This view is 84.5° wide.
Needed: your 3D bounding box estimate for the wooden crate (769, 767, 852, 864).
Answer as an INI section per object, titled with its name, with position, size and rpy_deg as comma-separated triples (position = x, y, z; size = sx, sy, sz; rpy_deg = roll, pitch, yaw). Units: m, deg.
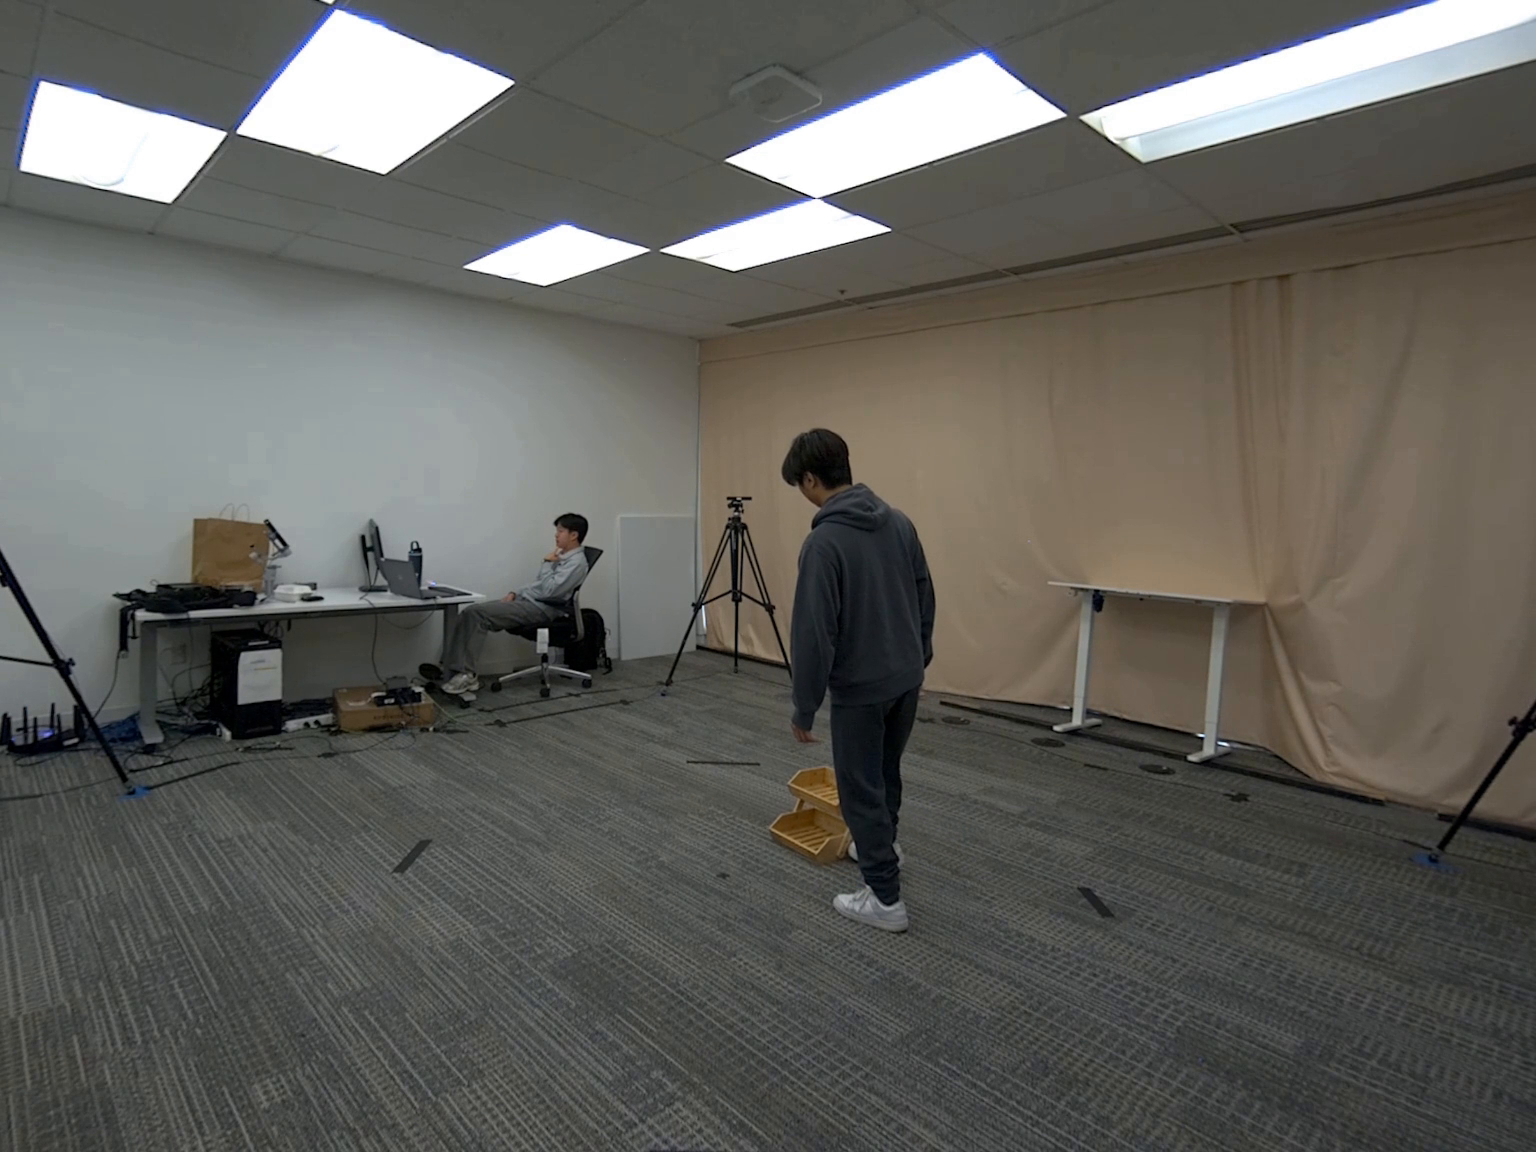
[wooden crate]
position = 0.207, 0.952, 3.401
size = 0.295, 0.273, 0.332
rpy_deg = 0, 4, -37
